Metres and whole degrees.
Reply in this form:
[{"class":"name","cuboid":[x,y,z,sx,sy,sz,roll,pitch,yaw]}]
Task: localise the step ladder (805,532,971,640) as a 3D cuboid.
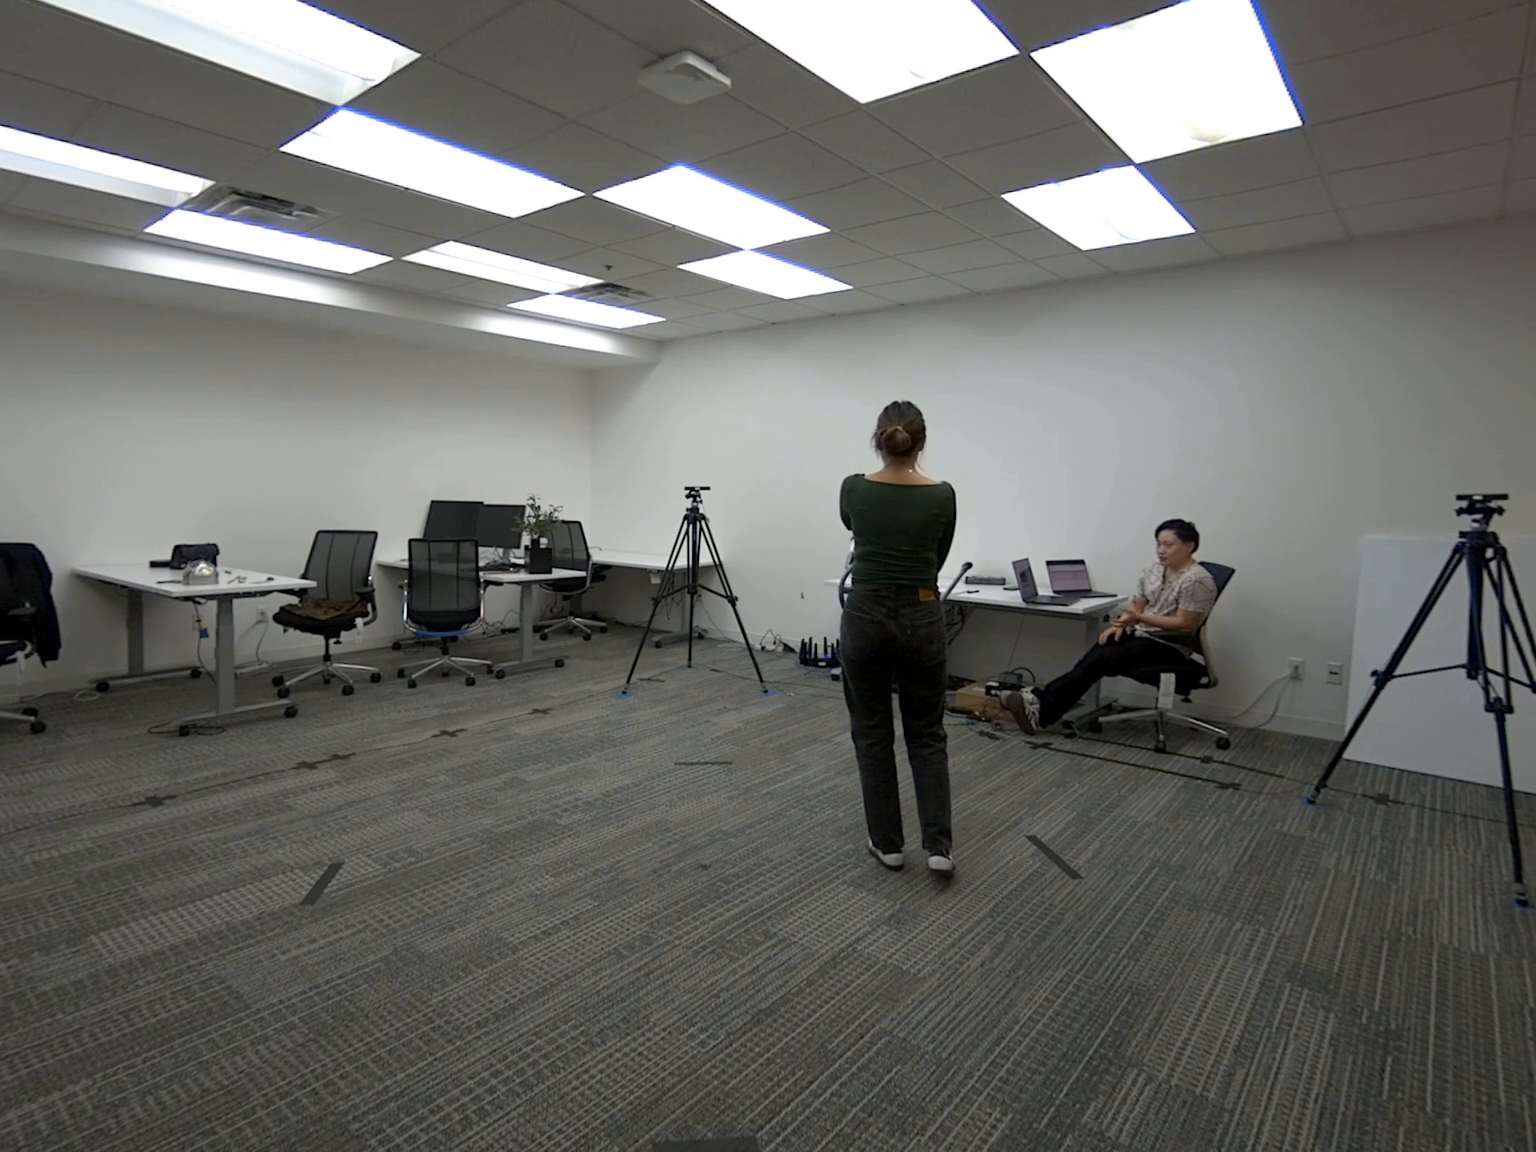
[{"class":"step ladder","cuboid":[0.519,0.028,3.539,0.352,0.427,0.607,-37,9,37]}]
